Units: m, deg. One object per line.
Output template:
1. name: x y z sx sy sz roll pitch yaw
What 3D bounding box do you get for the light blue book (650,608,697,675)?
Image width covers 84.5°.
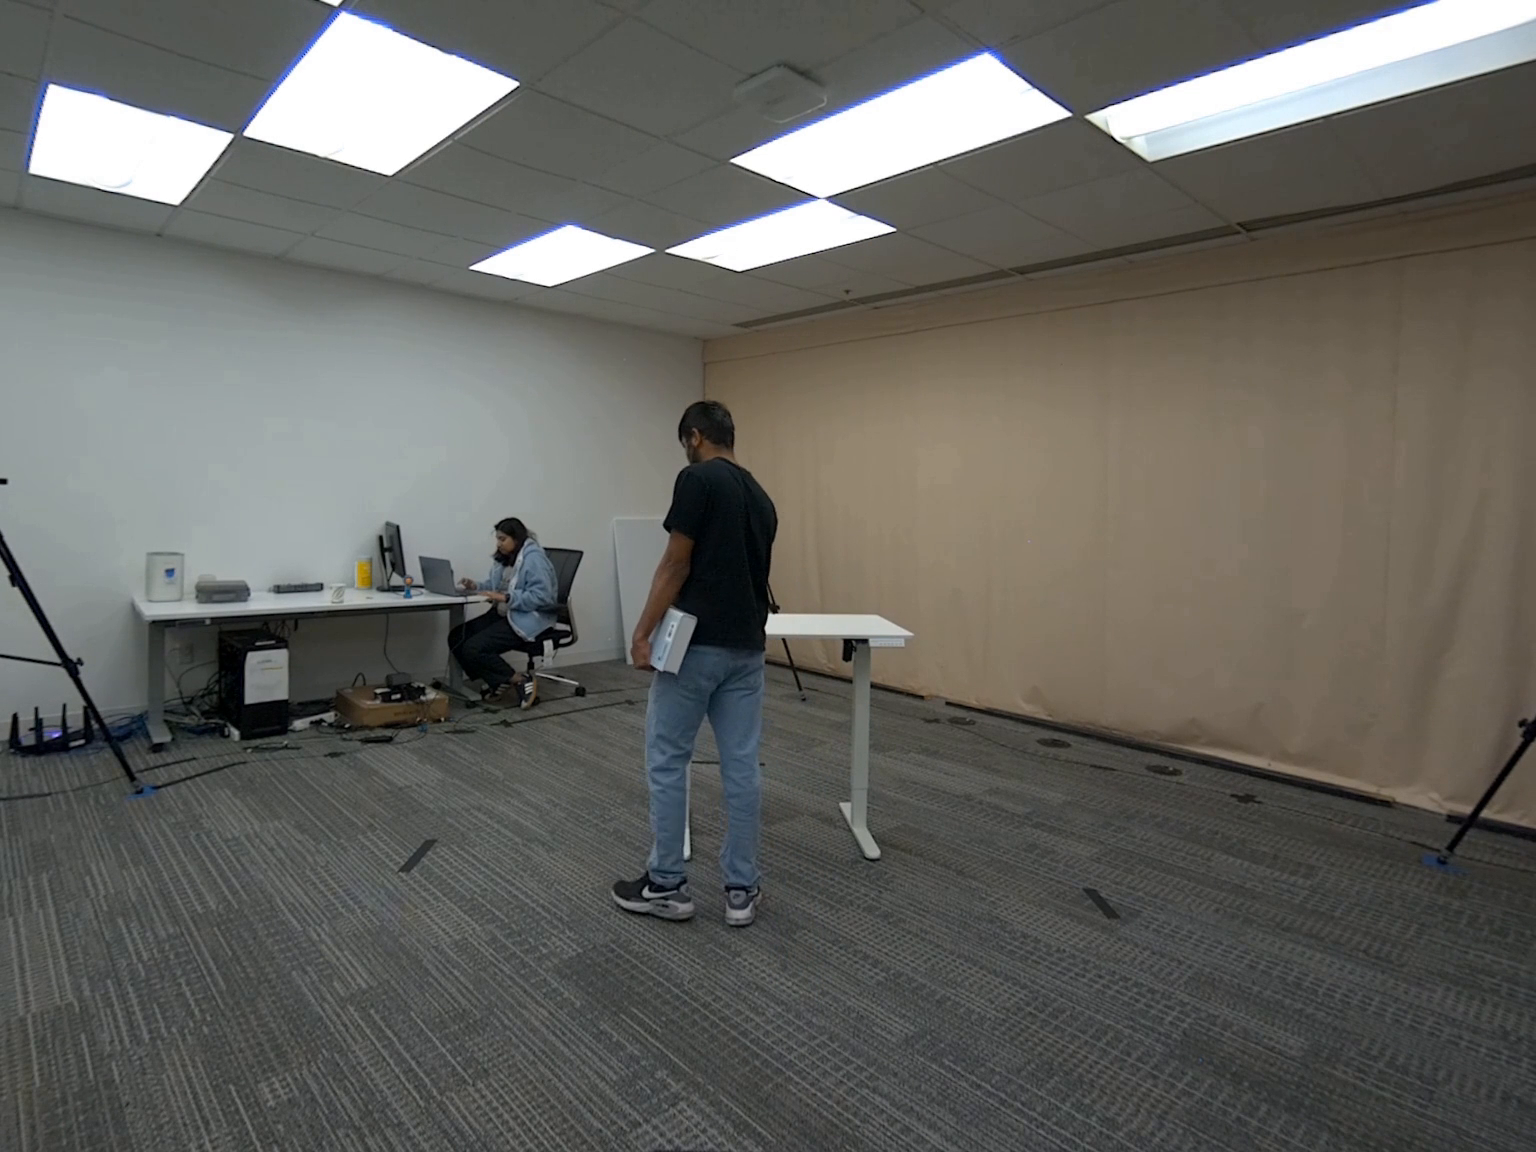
1. light blue book: -0.340 0.189 2.698 0.057 0.191 0.267 20 -2 -29
